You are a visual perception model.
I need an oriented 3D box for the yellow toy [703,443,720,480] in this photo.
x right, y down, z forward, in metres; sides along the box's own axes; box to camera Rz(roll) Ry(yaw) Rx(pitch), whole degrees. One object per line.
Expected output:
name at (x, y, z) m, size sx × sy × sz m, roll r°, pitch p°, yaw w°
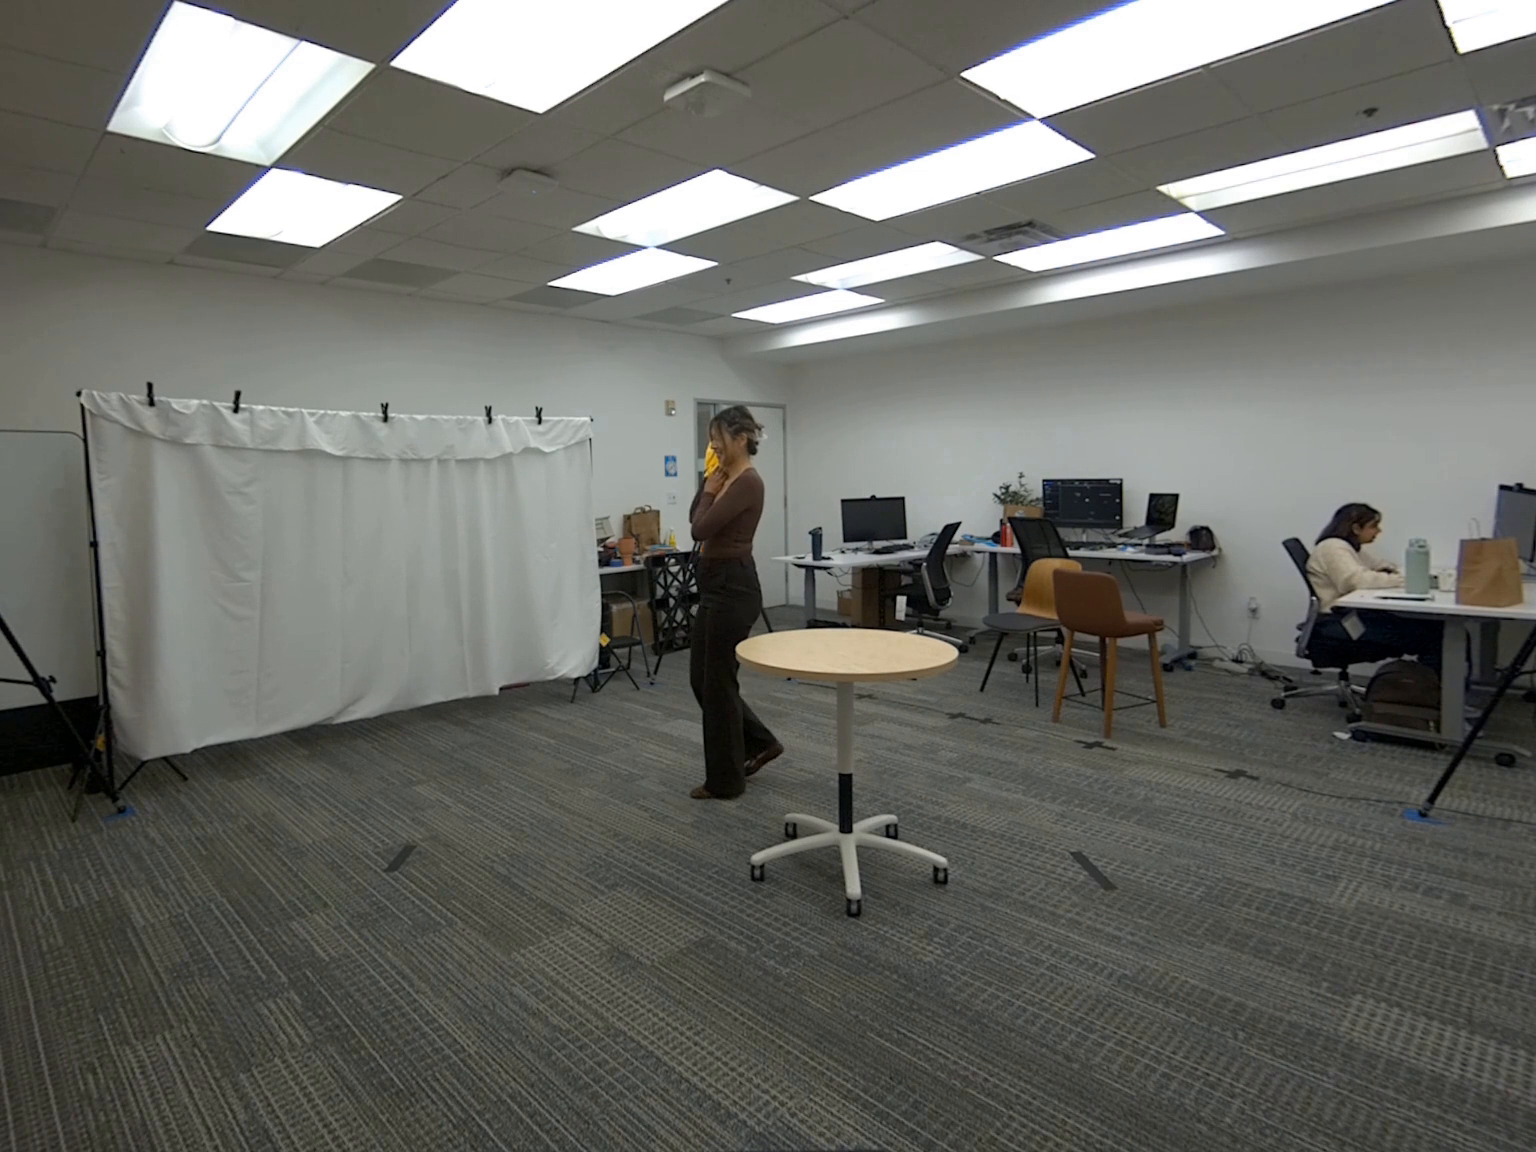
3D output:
yellow toy at (-0.206, -0.587, 3.886) m, size 0.190 × 0.231 × 0.207 m, roll -11°, pitch -2°, yaw -18°
